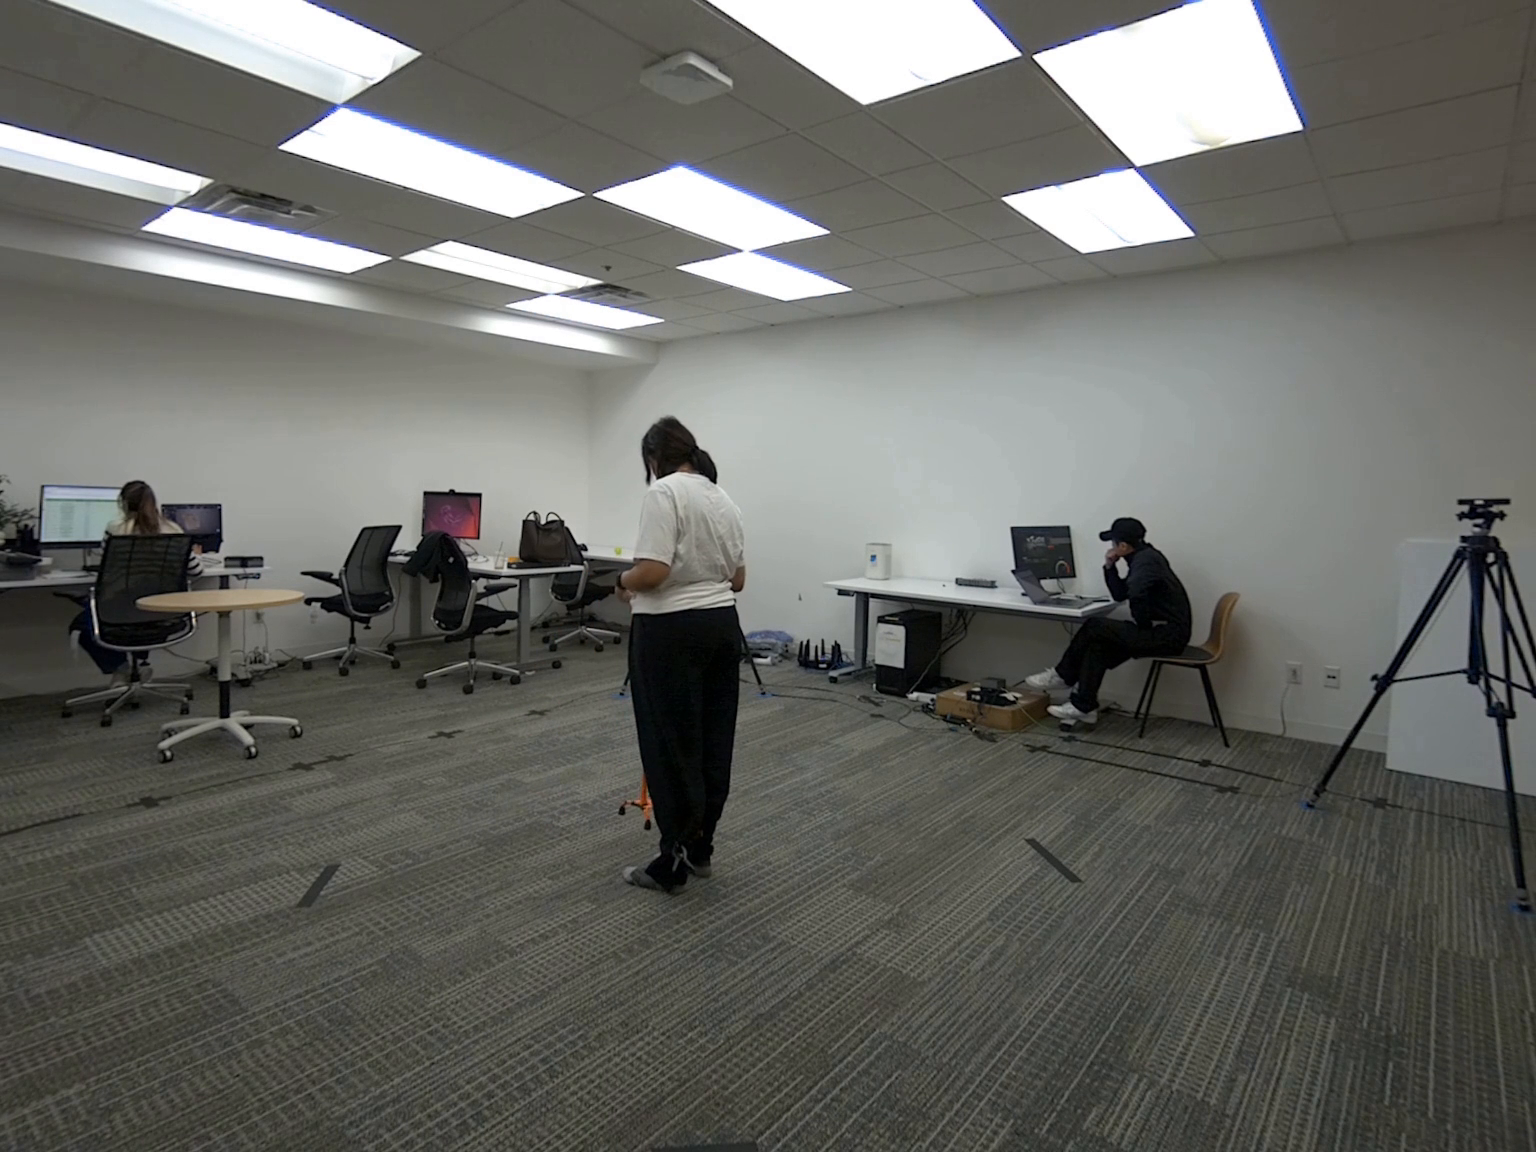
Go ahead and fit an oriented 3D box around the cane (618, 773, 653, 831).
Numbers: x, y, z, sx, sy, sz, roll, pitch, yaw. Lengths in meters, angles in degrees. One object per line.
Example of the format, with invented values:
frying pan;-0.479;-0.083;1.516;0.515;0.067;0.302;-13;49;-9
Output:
cane;-0.461;0.502;3.314;0.147;0.906;0.213;1;3;-41
